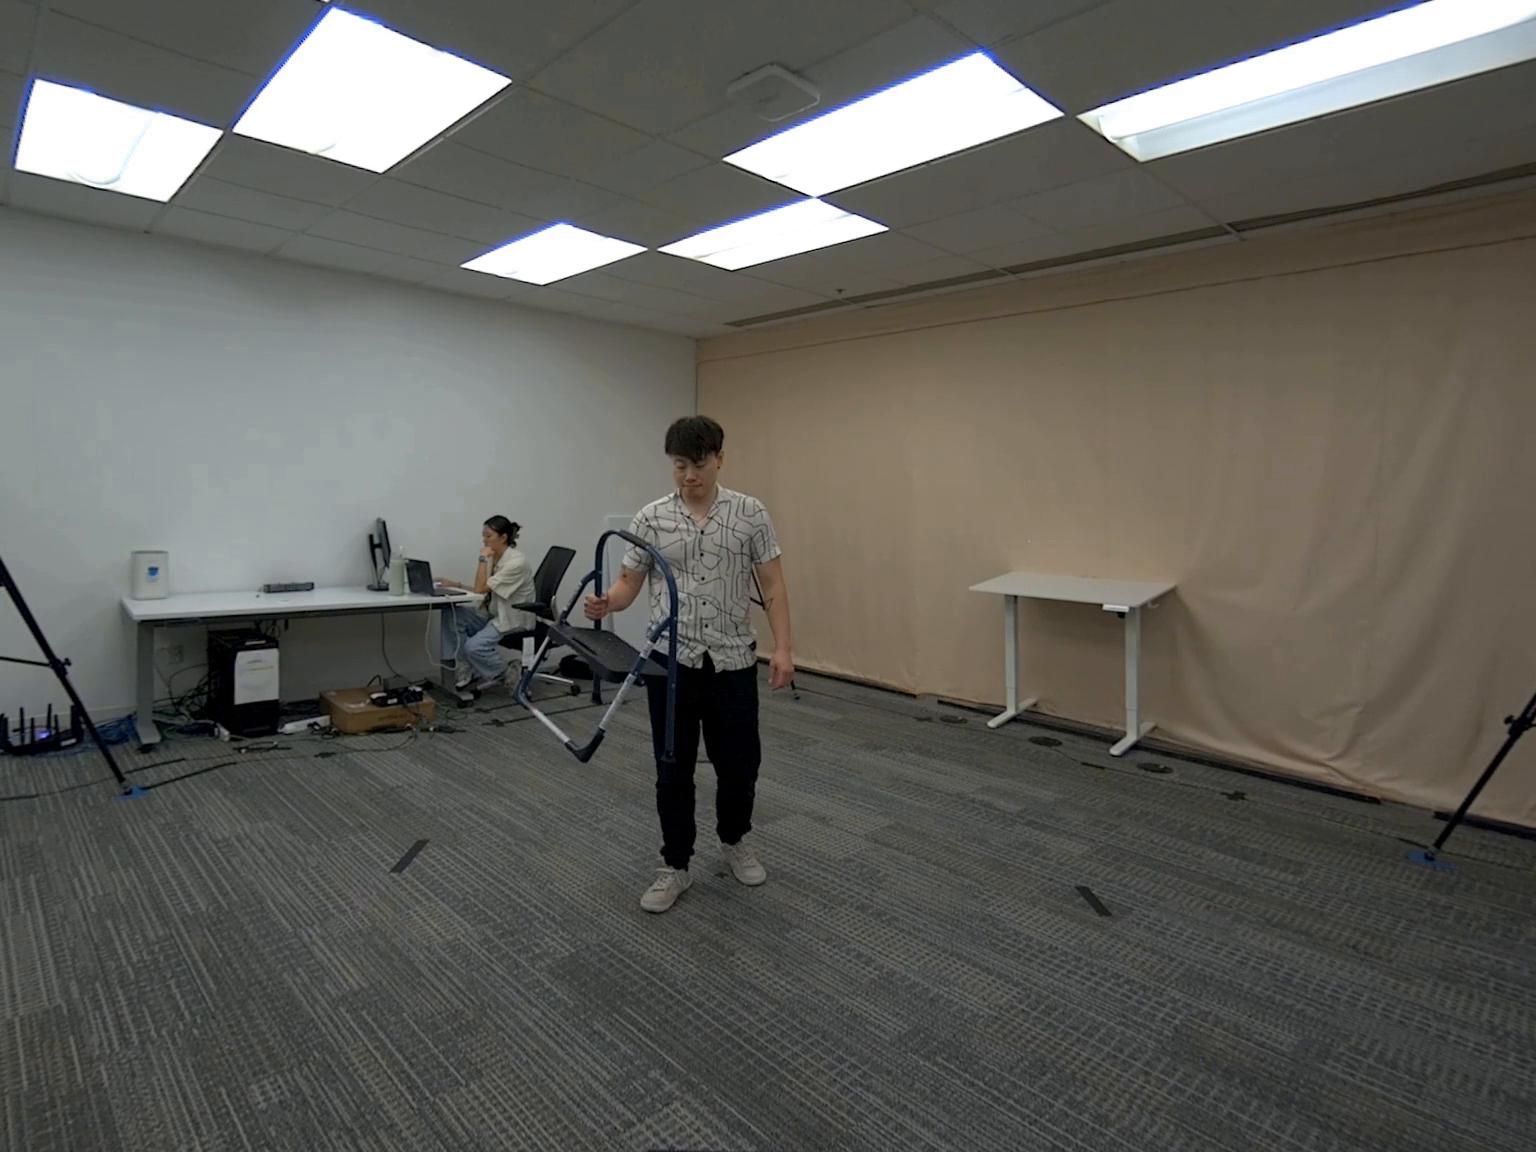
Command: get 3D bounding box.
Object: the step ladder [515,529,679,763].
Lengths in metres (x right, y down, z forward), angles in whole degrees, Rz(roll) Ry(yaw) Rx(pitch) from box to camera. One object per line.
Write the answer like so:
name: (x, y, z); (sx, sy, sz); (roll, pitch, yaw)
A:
step ladder: (-0.431, 0.184, 2.508); (0.444, 0.604, 0.339); (25, 8, 42)
